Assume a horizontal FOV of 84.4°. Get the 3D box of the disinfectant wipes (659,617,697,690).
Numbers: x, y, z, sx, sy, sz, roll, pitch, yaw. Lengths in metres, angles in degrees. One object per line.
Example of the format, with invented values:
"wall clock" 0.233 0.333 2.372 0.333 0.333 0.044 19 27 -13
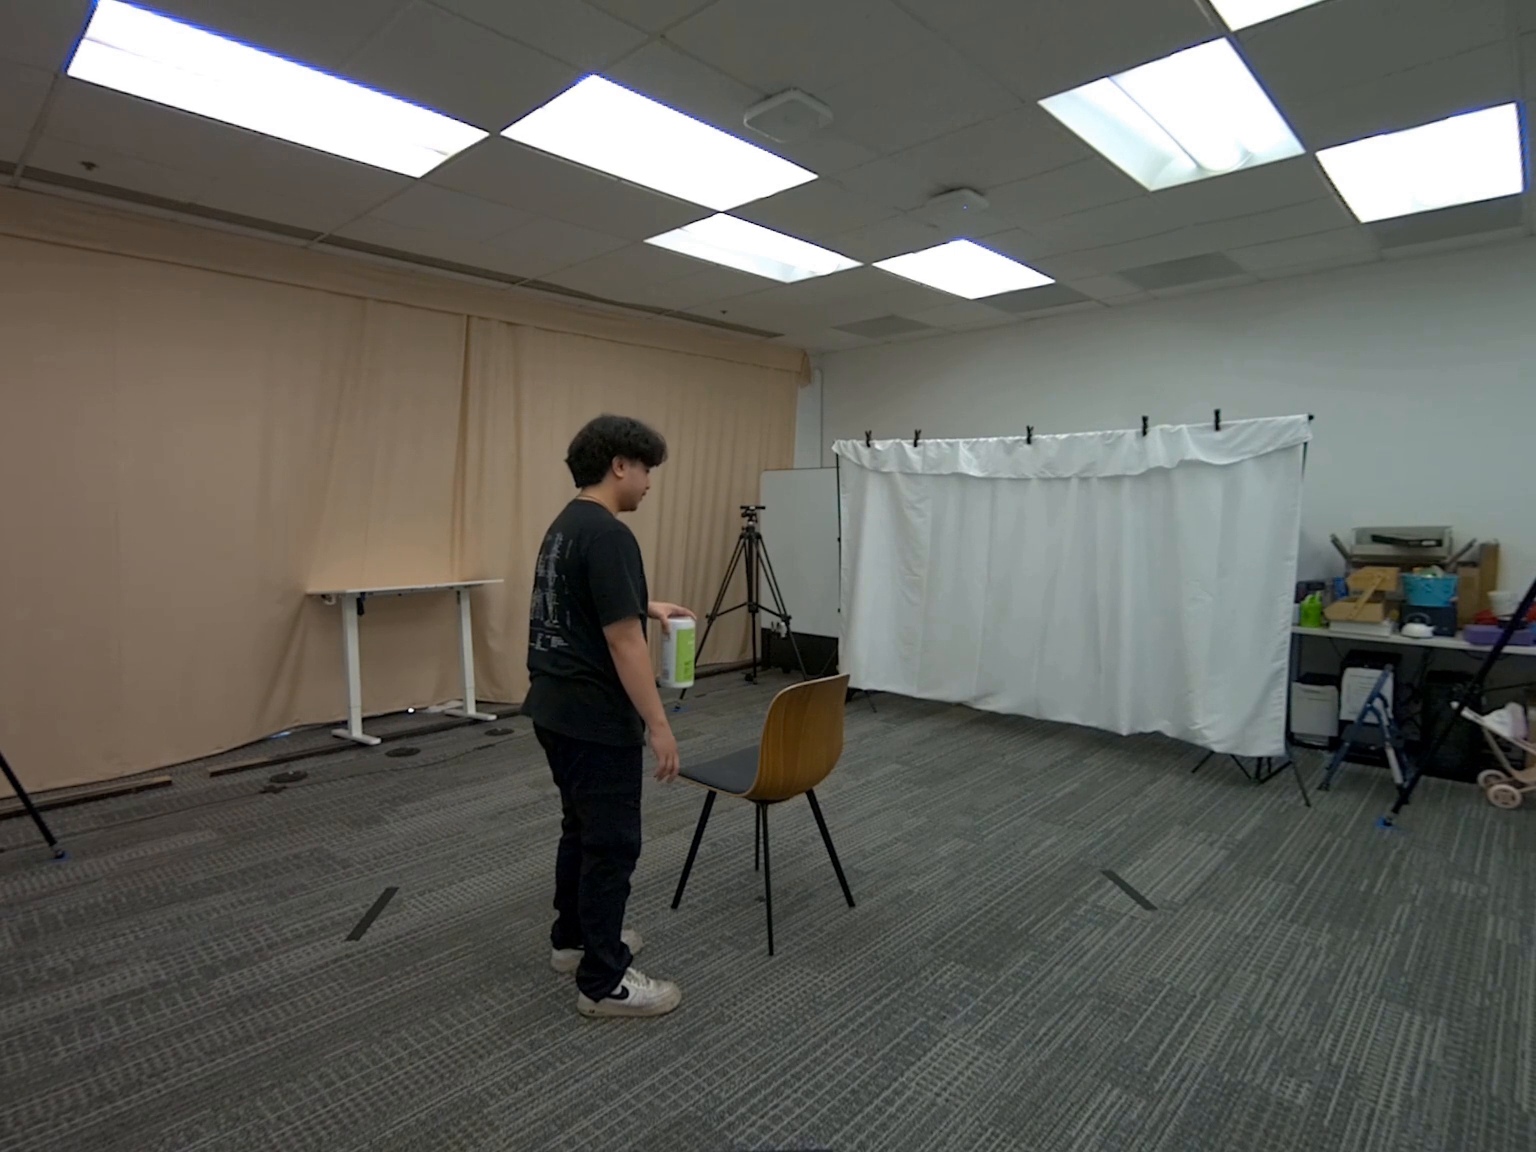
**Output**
"disinfectant wipes" -0.287 0.242 2.647 0.117 0.217 0.118 2 4 -2
